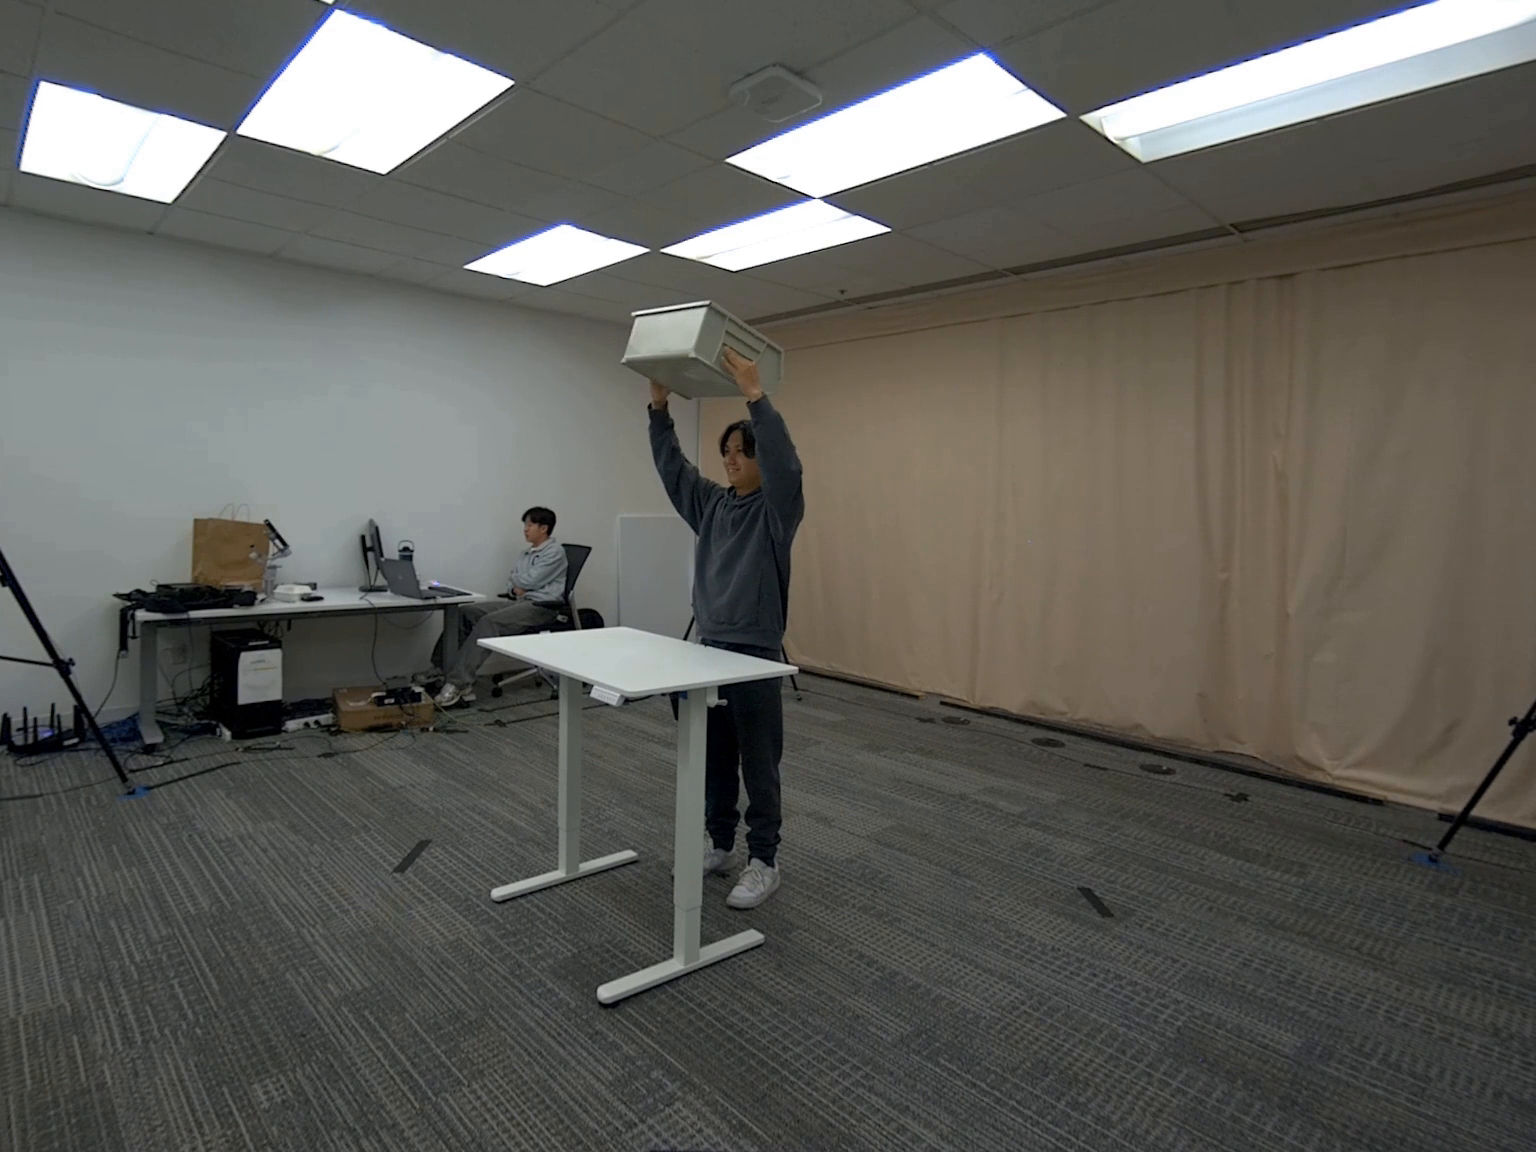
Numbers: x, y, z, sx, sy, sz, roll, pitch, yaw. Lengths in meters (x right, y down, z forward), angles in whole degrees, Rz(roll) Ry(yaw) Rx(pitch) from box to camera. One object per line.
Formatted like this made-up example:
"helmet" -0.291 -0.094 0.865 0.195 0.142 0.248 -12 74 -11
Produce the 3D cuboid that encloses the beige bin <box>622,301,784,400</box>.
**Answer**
"beige bin" -0.224 -0.724 2.811 0.366 0.189 0.434 21 -6 -42
